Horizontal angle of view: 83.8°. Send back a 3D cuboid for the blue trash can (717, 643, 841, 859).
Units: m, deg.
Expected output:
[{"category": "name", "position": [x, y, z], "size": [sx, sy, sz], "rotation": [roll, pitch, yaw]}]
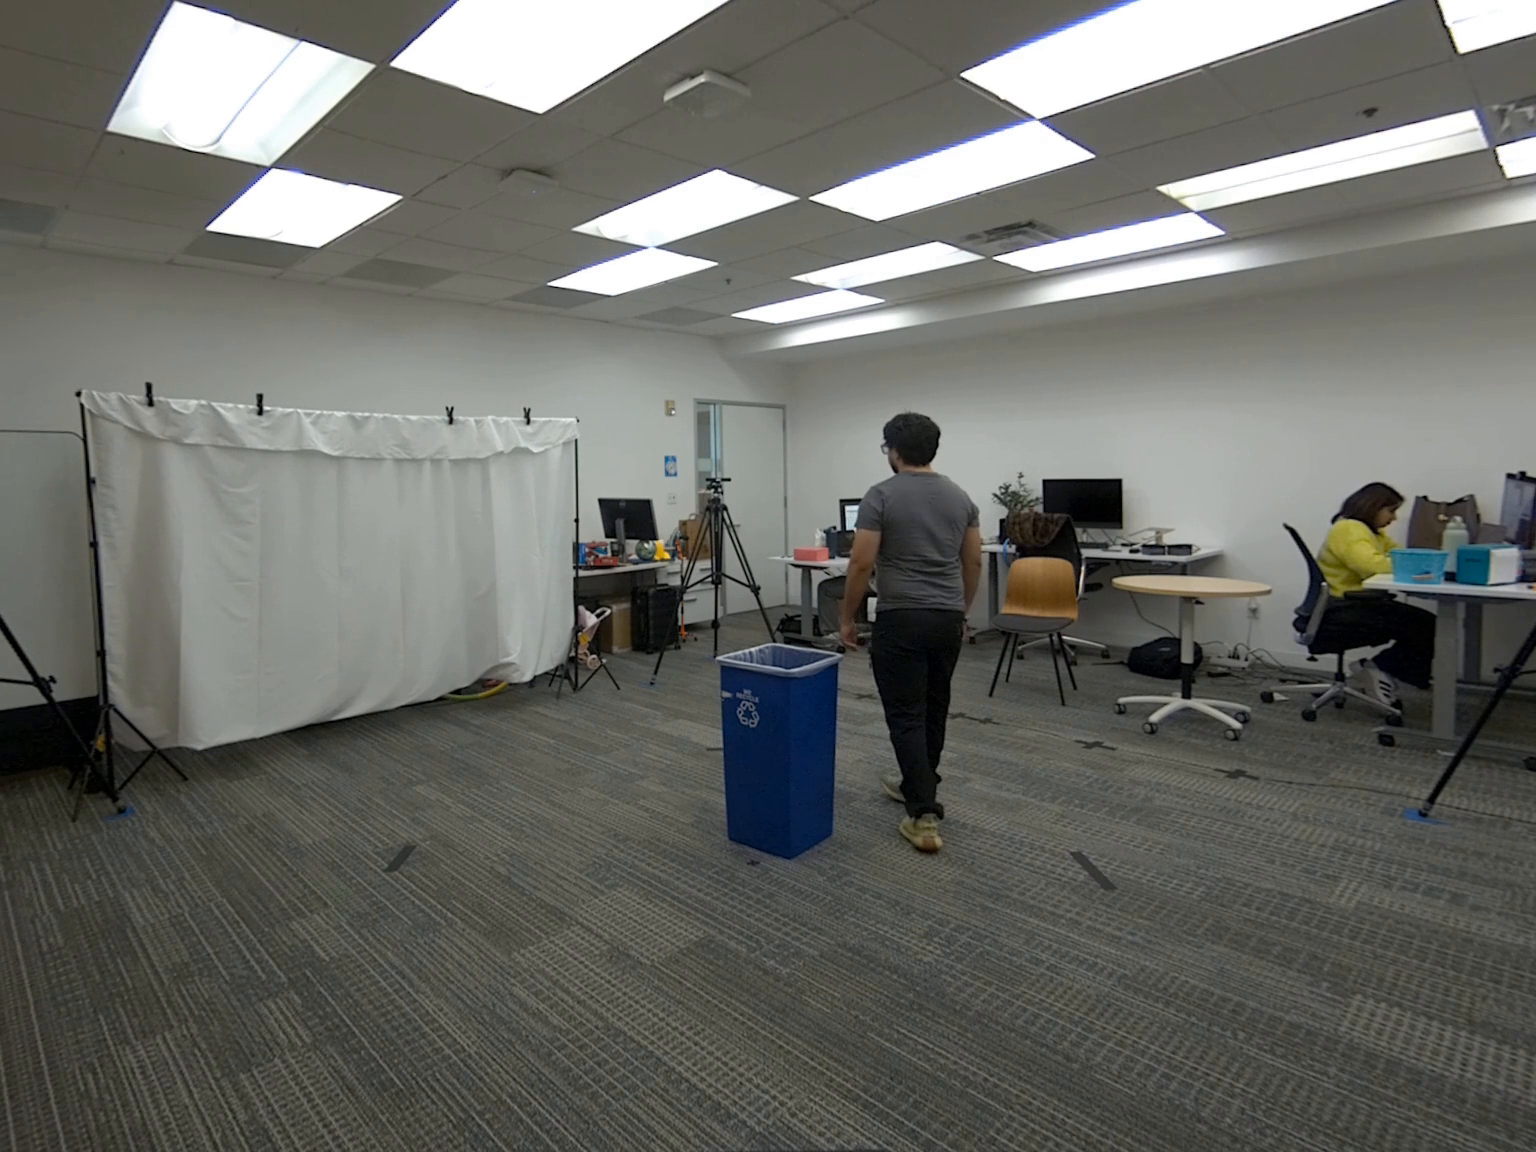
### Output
[{"category": "blue trash can", "position": [0.053, 0.660, 3.300], "size": [0.385, 0.711, 0.368], "rotation": [2, 5, 39]}]
